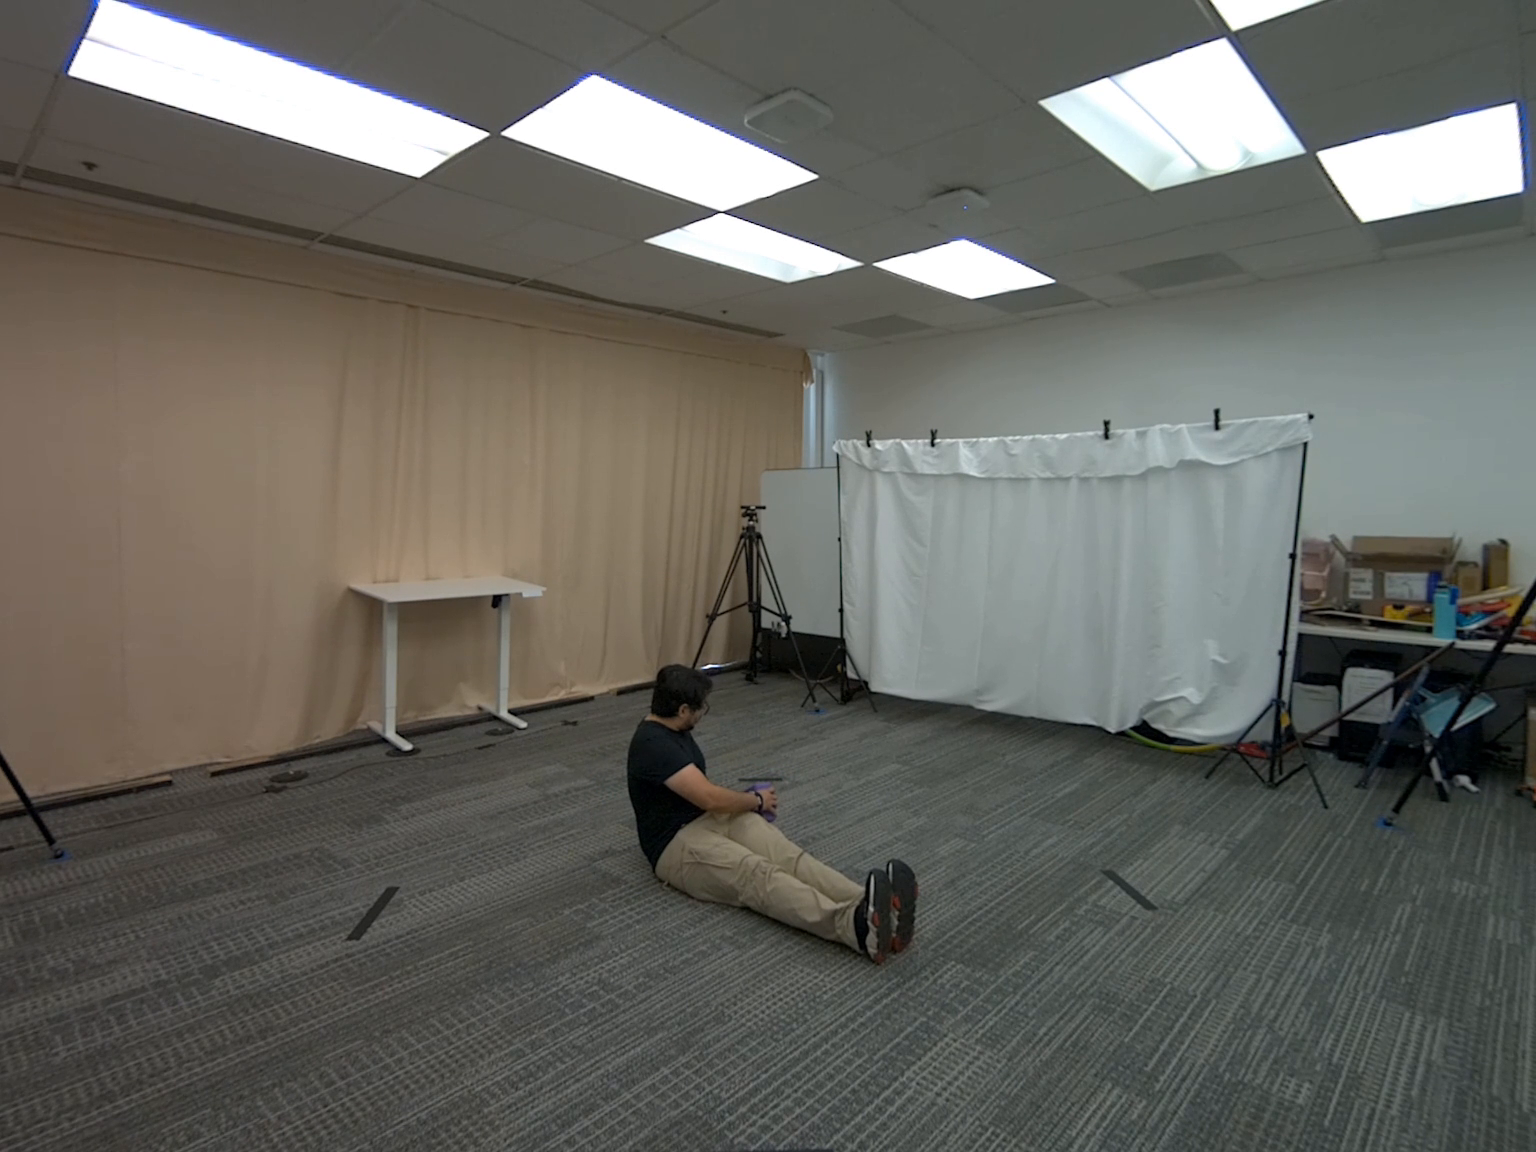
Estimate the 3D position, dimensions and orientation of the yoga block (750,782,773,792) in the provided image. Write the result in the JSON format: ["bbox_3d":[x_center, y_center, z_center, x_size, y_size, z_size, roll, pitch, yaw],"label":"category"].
[{"bbox_3d":[-0.058,0.937,3.392,0.076,0.151,0.228,0,-19,-10],"label":"yoga block"}]
